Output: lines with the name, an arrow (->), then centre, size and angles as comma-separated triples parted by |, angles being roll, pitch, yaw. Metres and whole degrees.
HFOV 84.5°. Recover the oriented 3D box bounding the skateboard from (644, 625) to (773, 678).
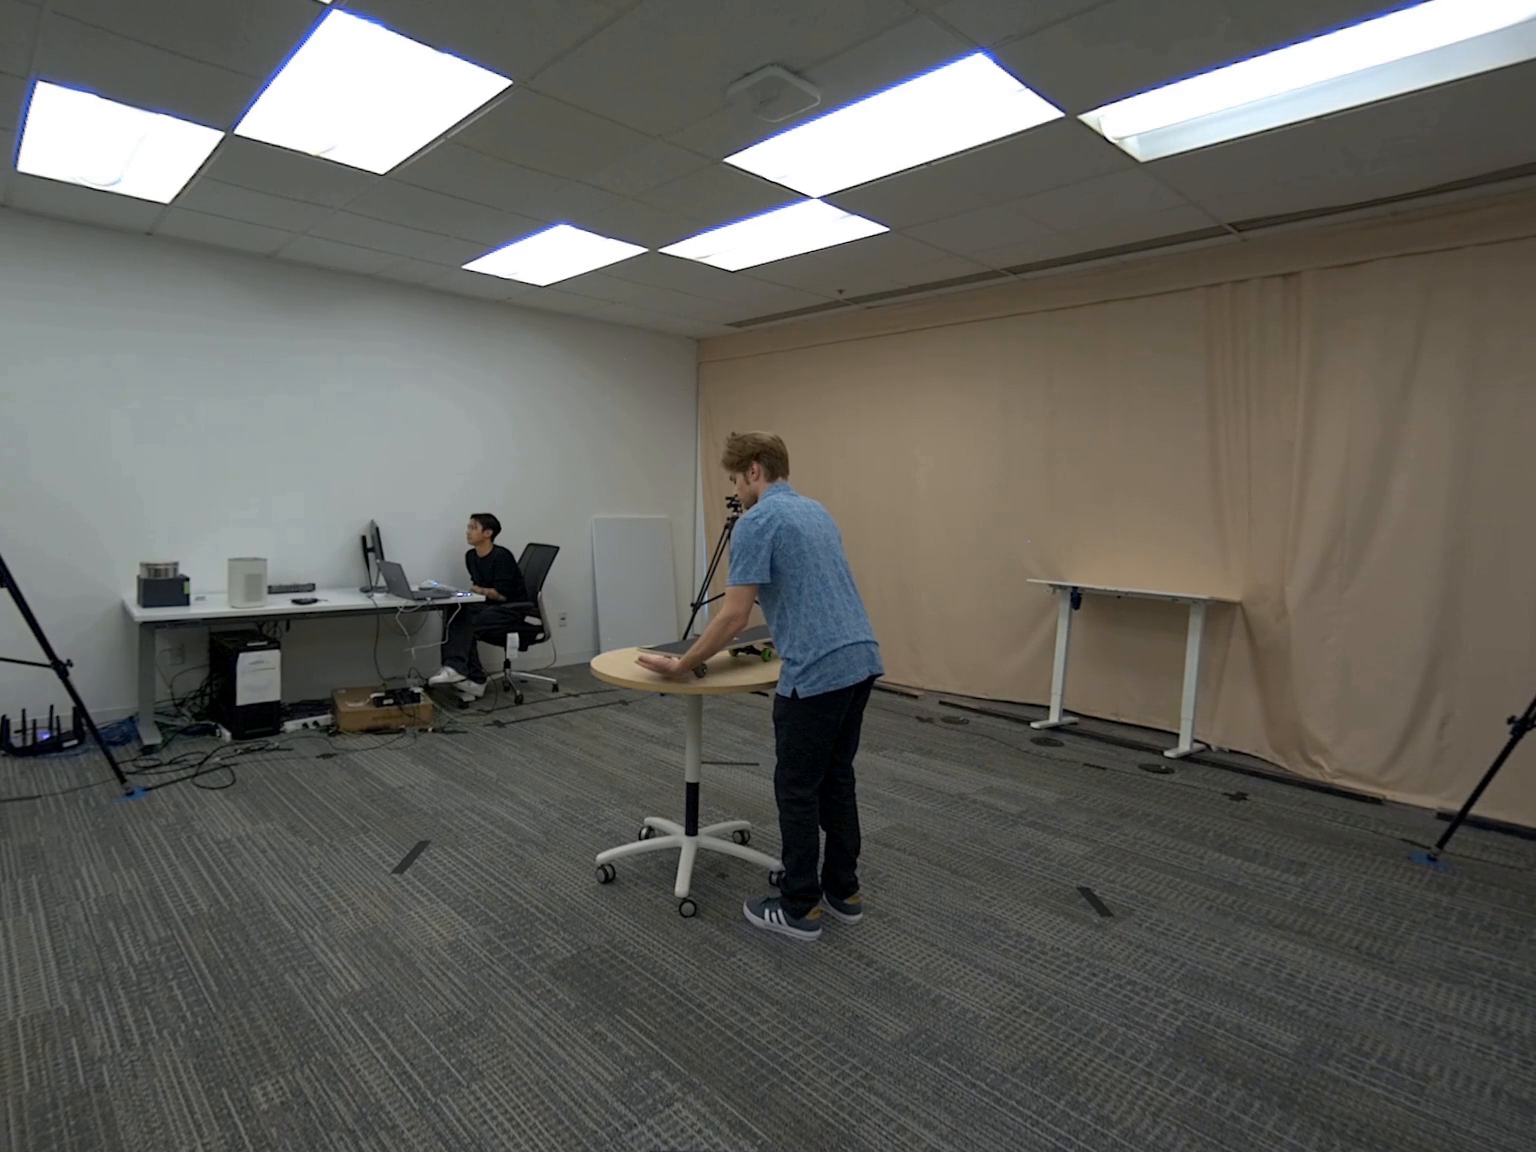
skateboard -> -0.186, 0.278, 3.043 | 0.198, 0.110, 0.769 | 6, 7, 34
